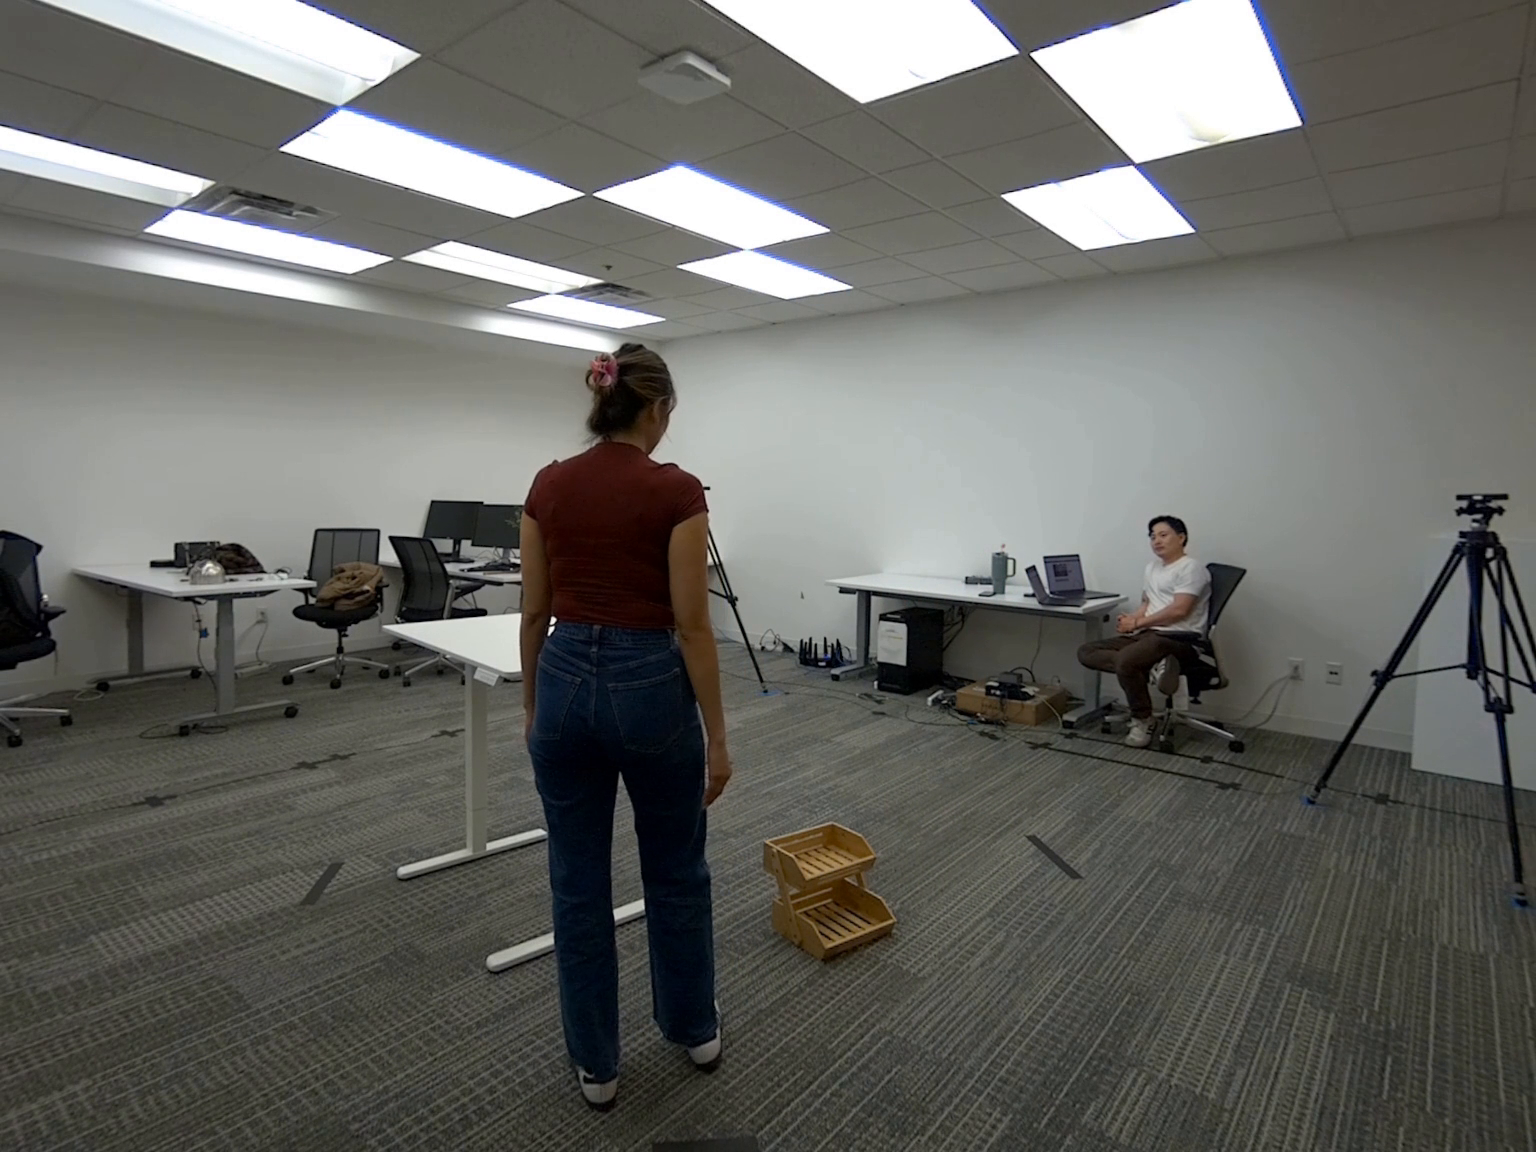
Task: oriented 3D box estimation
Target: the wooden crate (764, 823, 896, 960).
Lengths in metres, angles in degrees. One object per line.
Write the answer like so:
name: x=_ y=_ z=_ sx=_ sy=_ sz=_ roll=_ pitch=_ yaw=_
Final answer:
wooden crate: x=0.191 y=0.980 z=2.691 sx=0.315 sy=0.272 sz=0.312 roll=-2 pitch=5 yaw=-37
